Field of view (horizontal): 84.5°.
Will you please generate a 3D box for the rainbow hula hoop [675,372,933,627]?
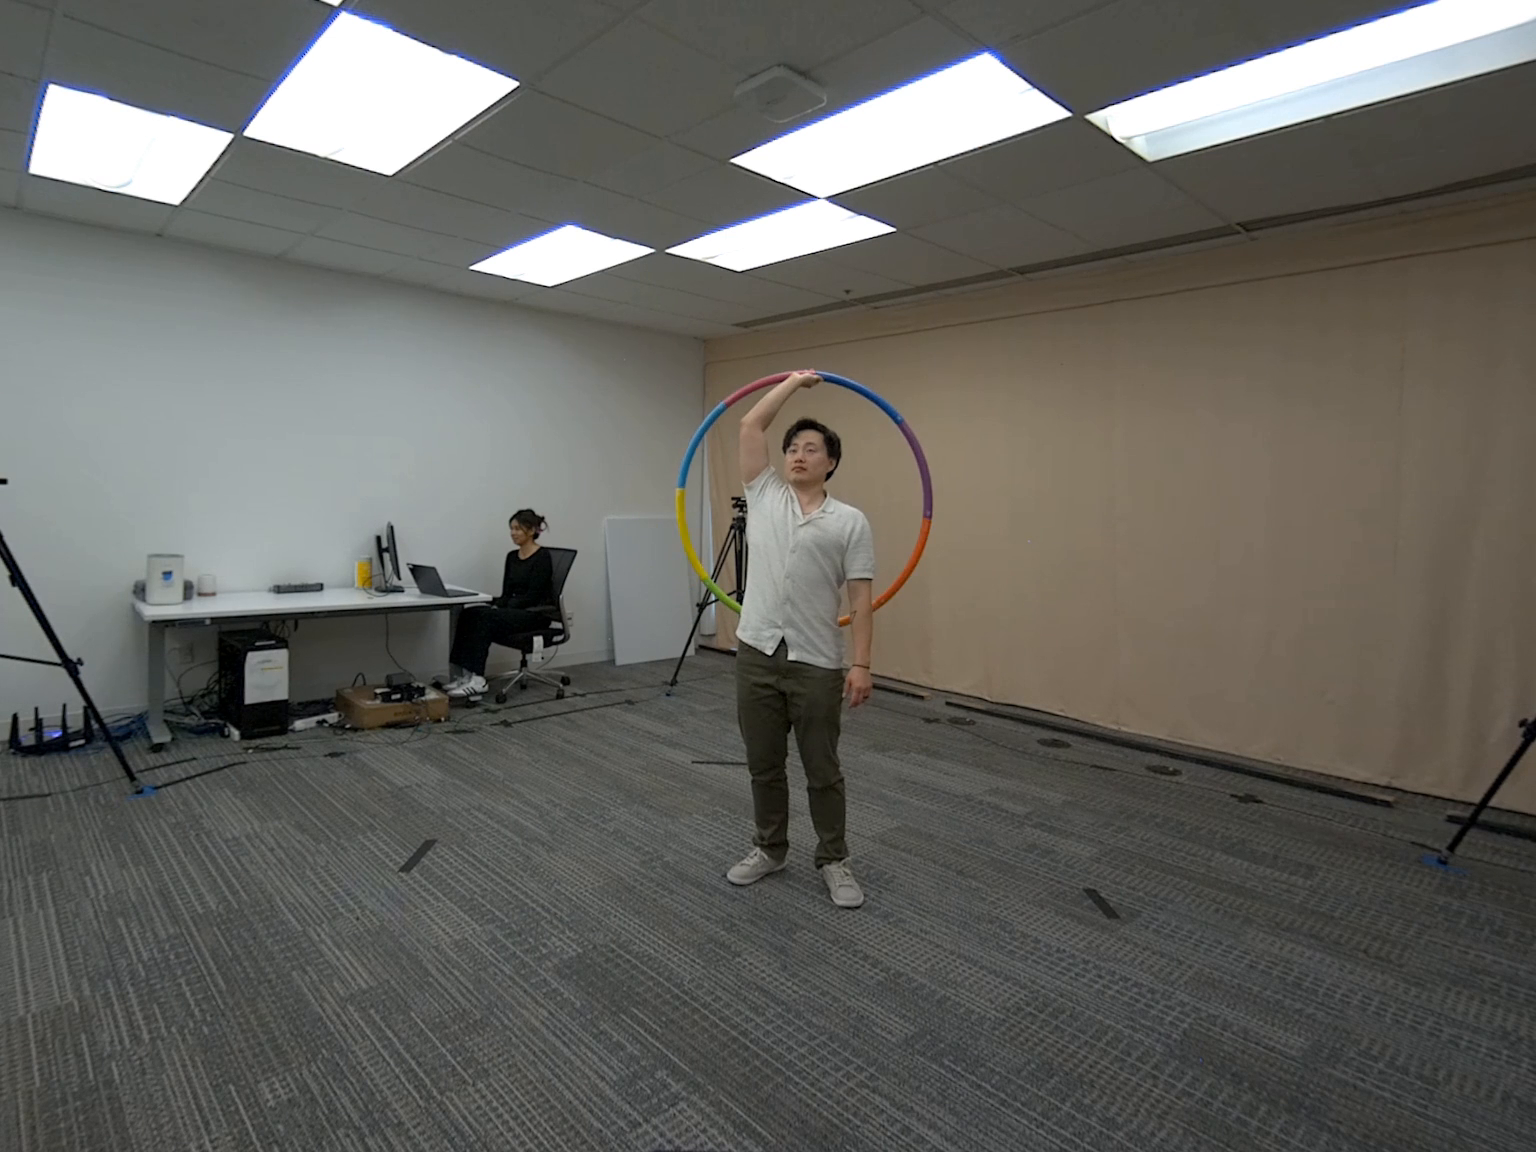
[{"bbox_3d":[0.120,-0.272,3.201,0.987,0.976,0.035,2,3,11],"label":"rainbow hula hoop"}]
